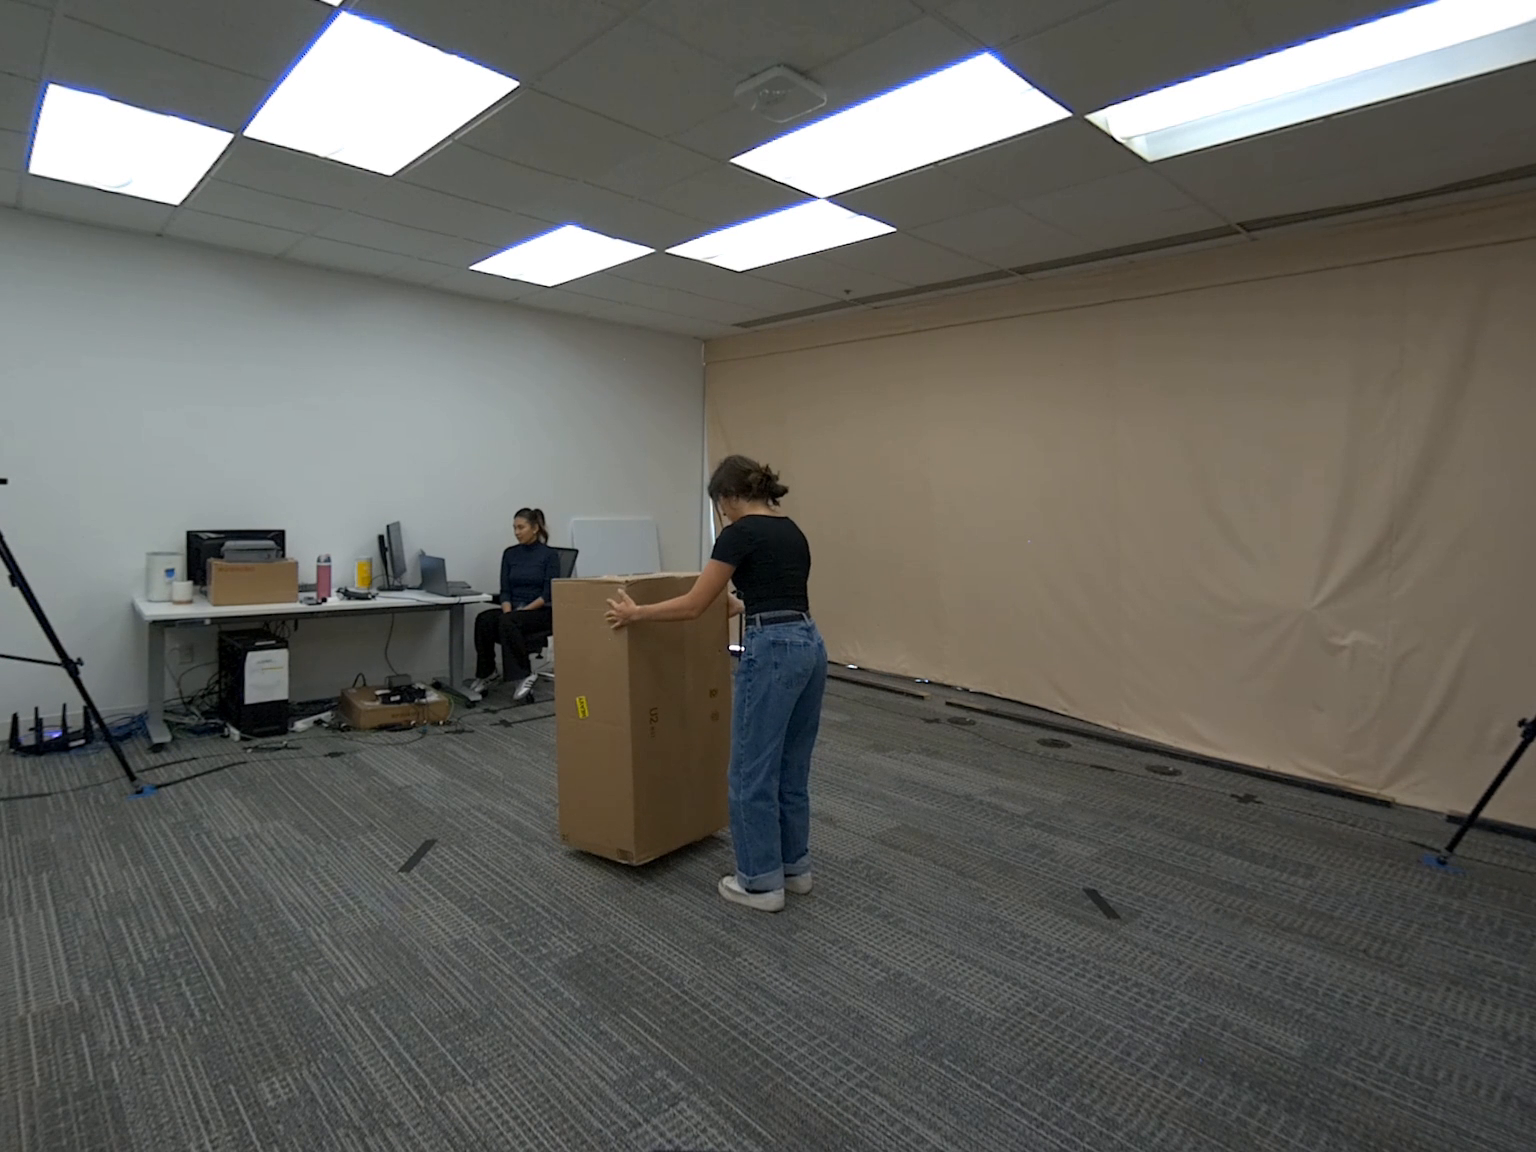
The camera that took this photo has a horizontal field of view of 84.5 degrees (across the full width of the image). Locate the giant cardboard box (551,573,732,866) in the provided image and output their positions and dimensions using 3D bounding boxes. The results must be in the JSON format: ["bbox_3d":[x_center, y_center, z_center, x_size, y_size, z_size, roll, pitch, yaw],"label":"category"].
[{"bbox_3d":[-0.493,0.510,3.344,0.436,1.025,0.565,-1,1,38],"label":"giant cardboard box"}]
